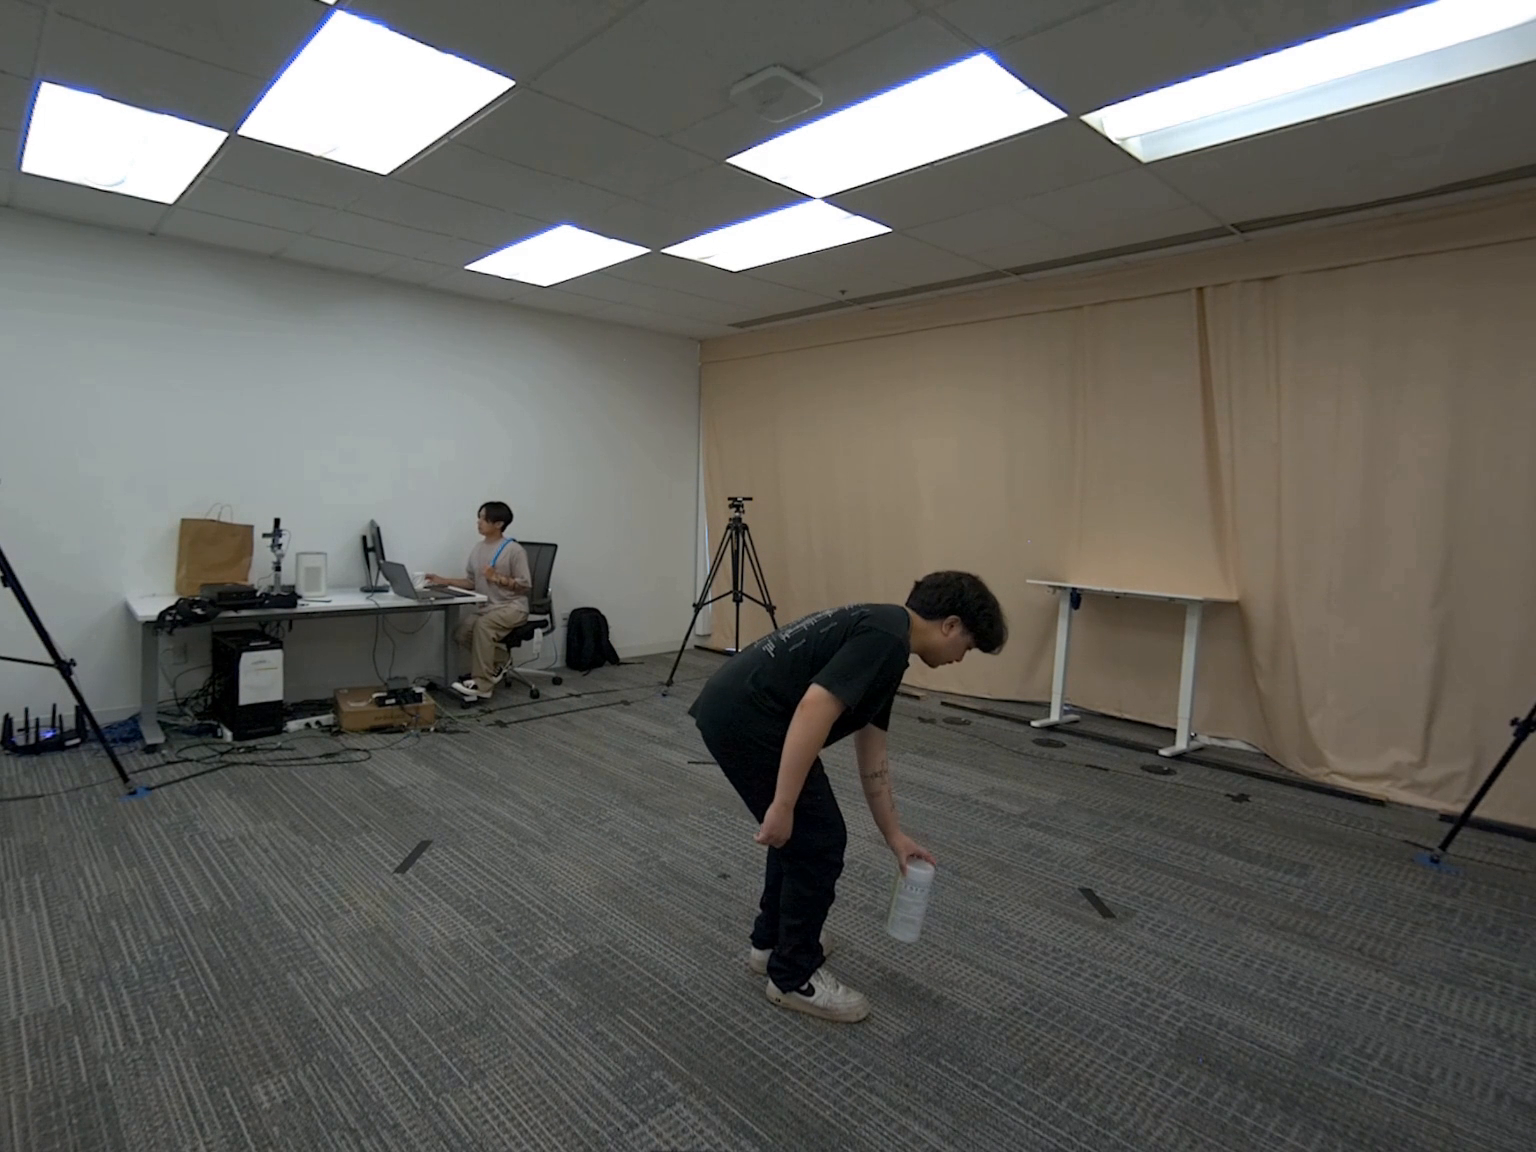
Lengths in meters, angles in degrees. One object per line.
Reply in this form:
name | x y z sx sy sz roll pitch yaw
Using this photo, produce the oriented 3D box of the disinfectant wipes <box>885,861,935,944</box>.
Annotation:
disinfectant wipes | 0.397 0.955 2.465 0.117 0.217 0.118 12 3 -2
